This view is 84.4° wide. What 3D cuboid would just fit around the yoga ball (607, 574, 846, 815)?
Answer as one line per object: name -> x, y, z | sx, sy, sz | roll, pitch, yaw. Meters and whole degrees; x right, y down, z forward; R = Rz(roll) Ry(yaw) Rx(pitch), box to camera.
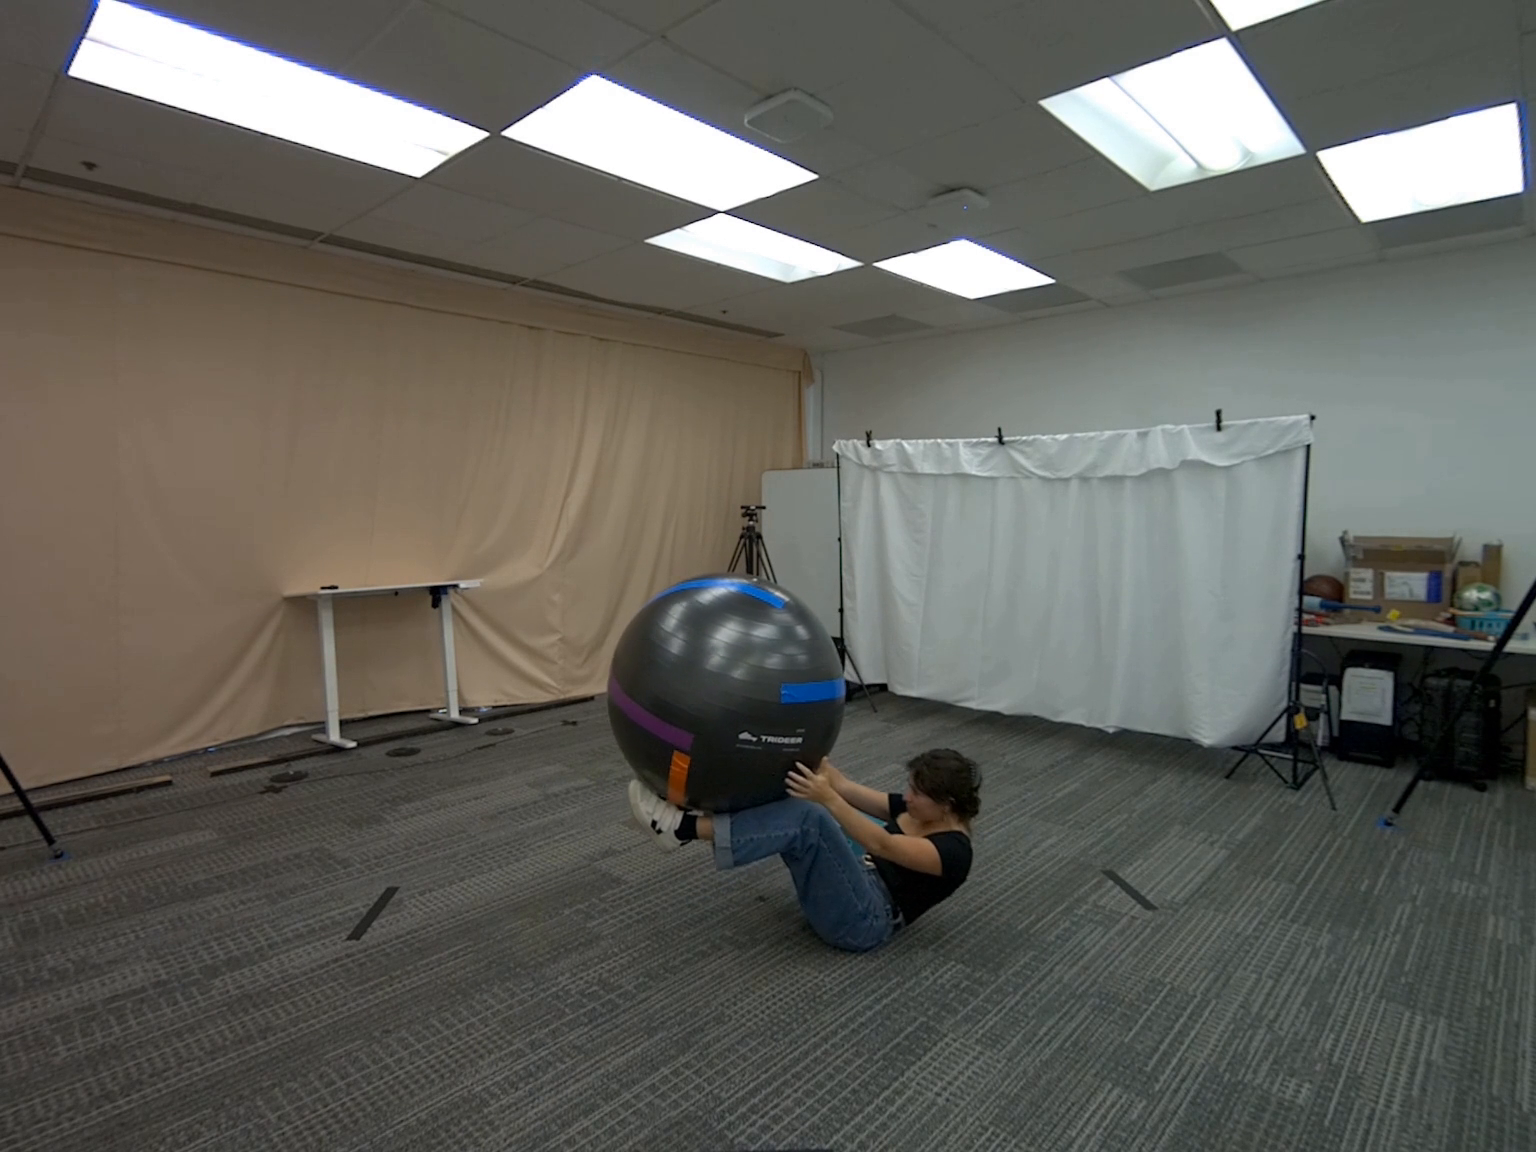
yoga ball -> -0.124, 0.374, 2.682 | 0.757, 0.756, 0.761 | 0, 4, -2
